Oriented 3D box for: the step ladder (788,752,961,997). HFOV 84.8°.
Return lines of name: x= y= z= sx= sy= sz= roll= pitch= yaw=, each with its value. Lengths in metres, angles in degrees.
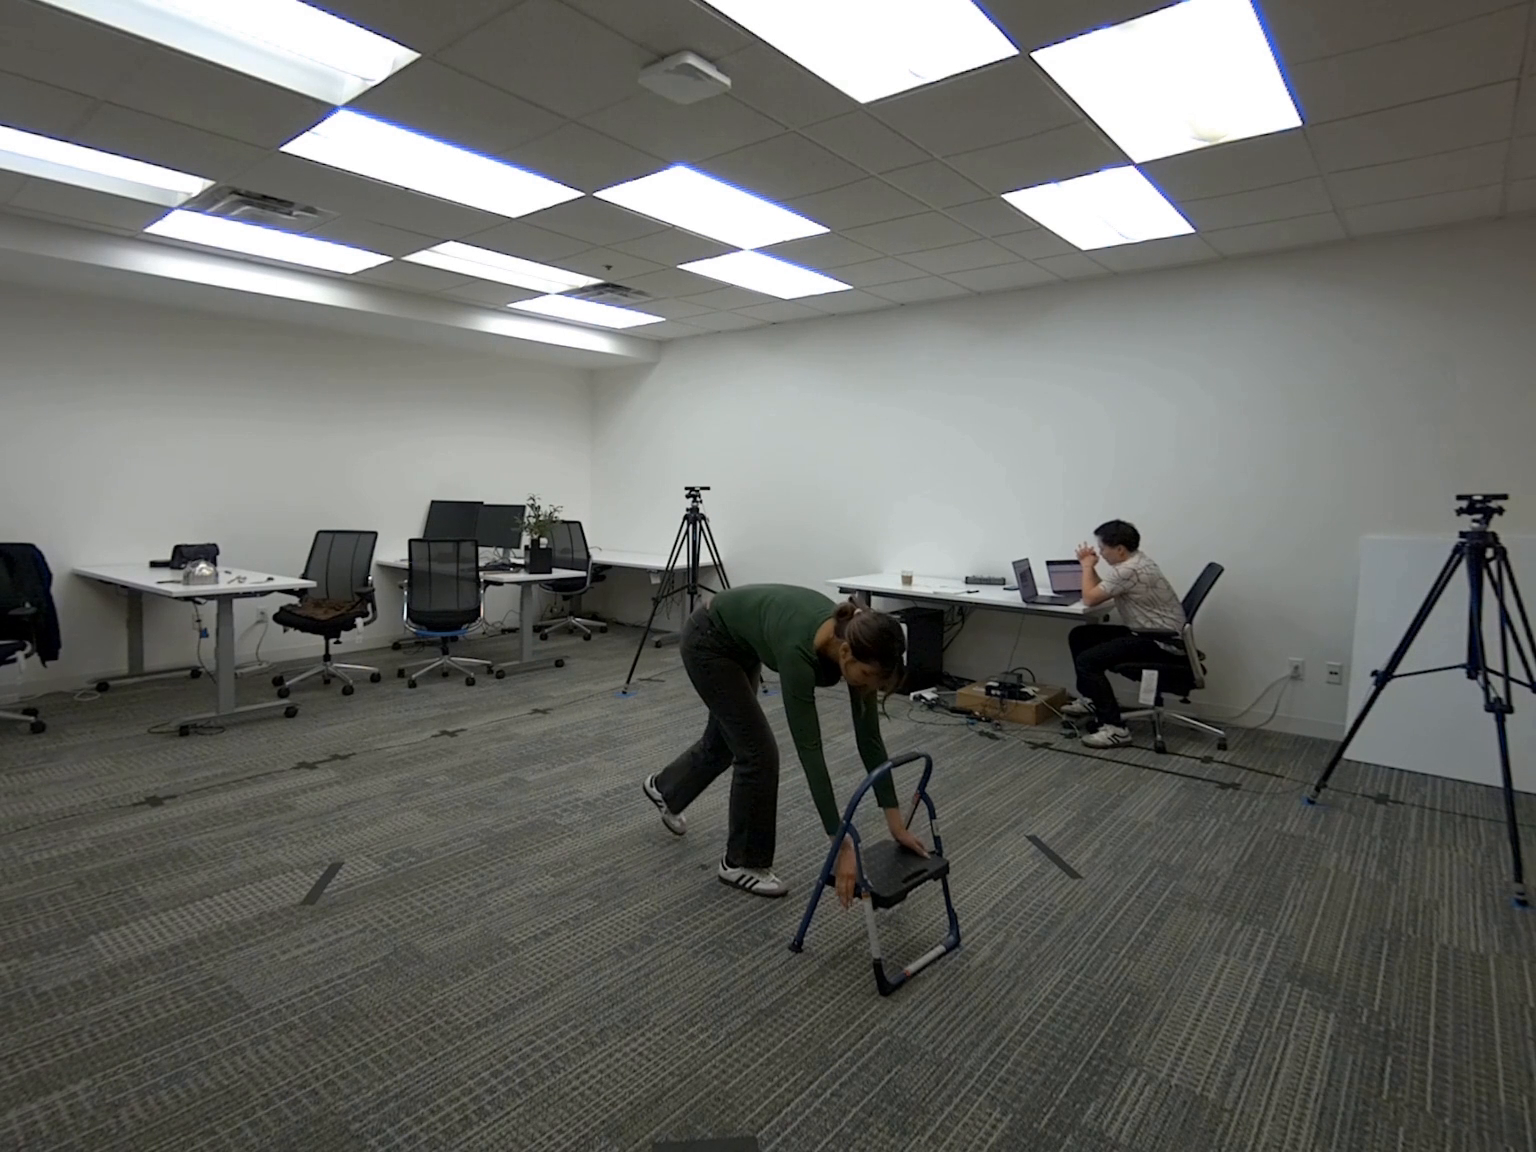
step ladder: x=0.330 y=0.828 z=2.582 sx=0.361 sy=0.604 sz=0.417 roll=4 pitch=5 yaw=43
